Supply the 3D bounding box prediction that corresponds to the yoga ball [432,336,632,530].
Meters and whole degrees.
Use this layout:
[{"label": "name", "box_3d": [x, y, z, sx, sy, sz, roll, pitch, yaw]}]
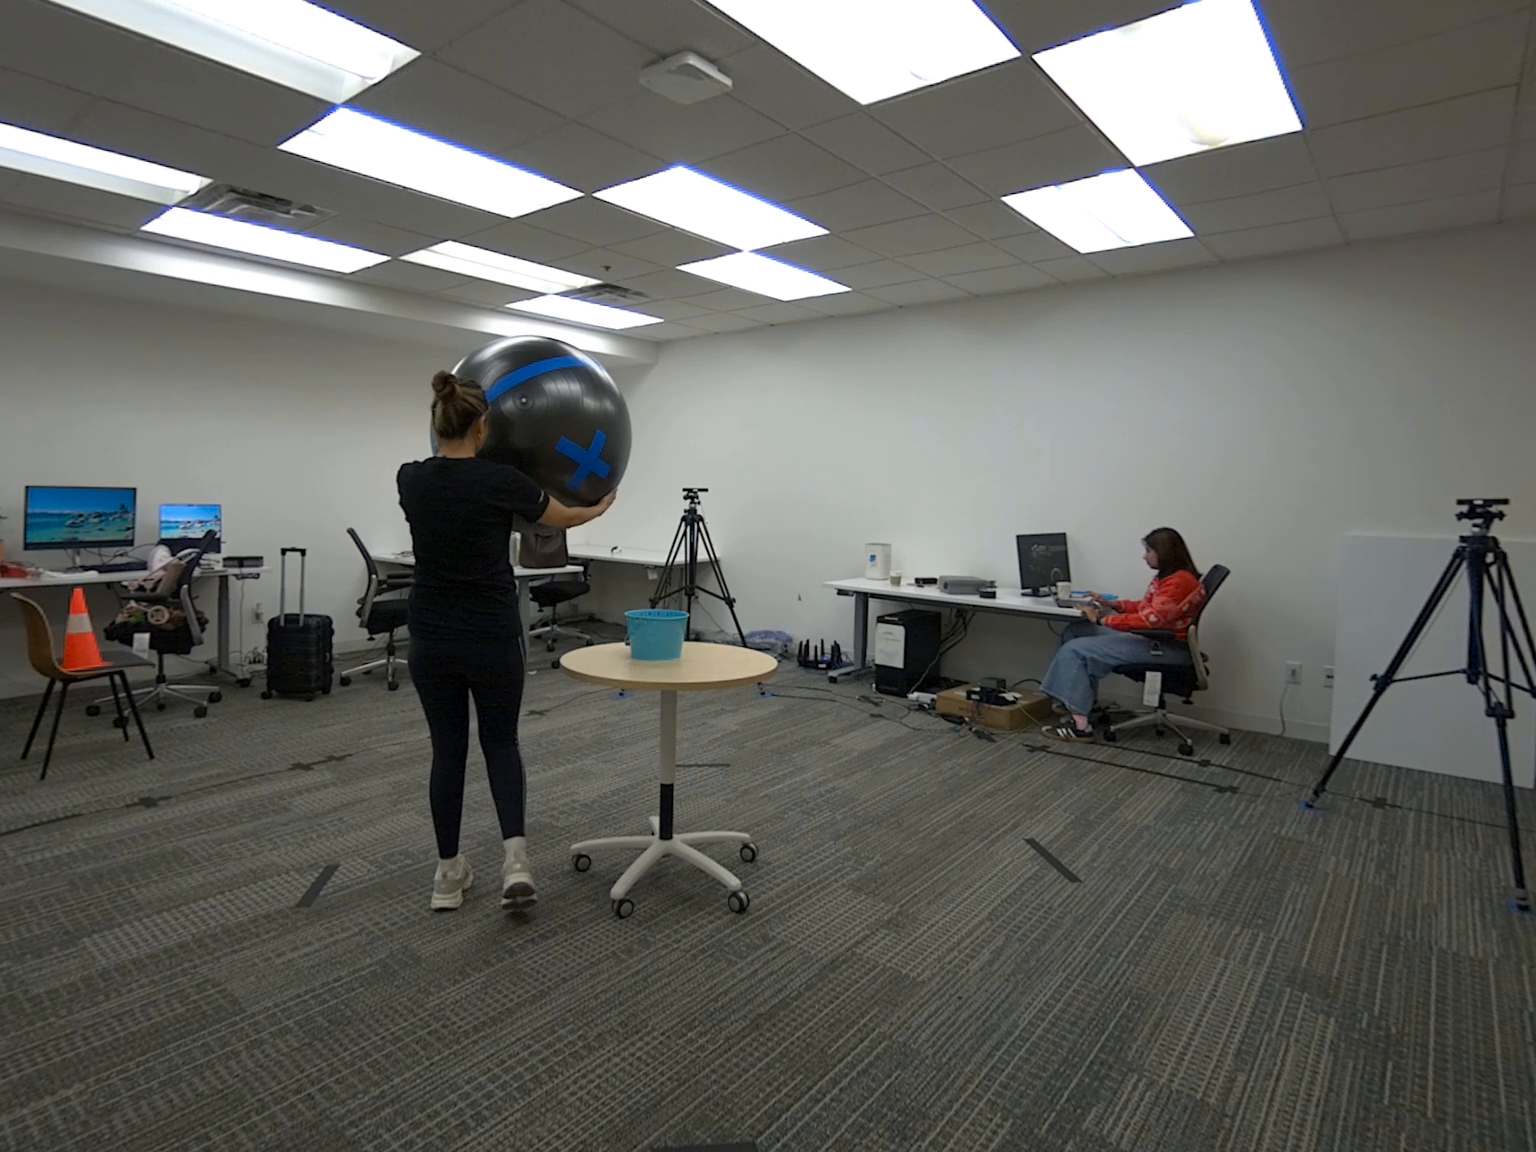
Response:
[{"label": "yoga ball", "box_3d": [-0.919, -0.538, 3.276, 0.757, 0.756, 0.761, 1, 4, -2]}]
